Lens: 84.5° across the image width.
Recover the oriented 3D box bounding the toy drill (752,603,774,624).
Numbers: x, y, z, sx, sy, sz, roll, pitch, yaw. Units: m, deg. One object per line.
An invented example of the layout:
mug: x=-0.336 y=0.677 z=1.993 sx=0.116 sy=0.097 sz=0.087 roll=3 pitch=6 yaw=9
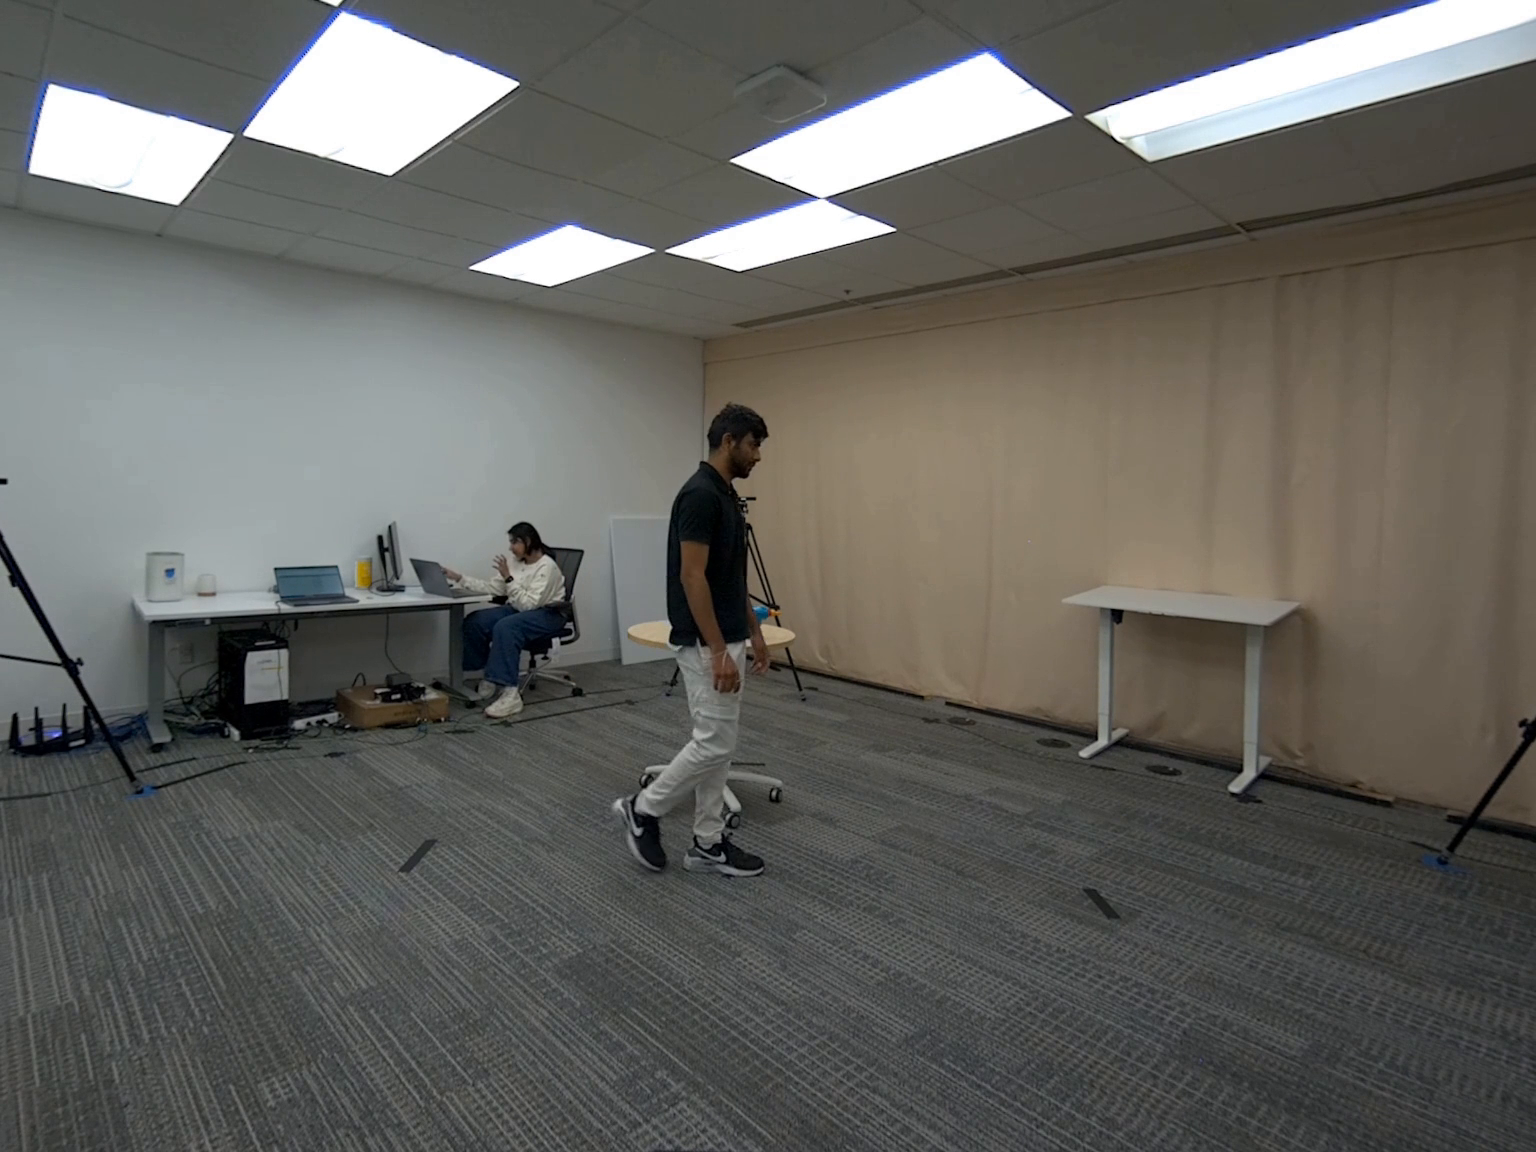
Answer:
toy drill: x=-0.021 y=0.204 z=3.707 sx=0.167 sy=0.146 sz=0.062 roll=-1 pitch=3 yaw=-23
